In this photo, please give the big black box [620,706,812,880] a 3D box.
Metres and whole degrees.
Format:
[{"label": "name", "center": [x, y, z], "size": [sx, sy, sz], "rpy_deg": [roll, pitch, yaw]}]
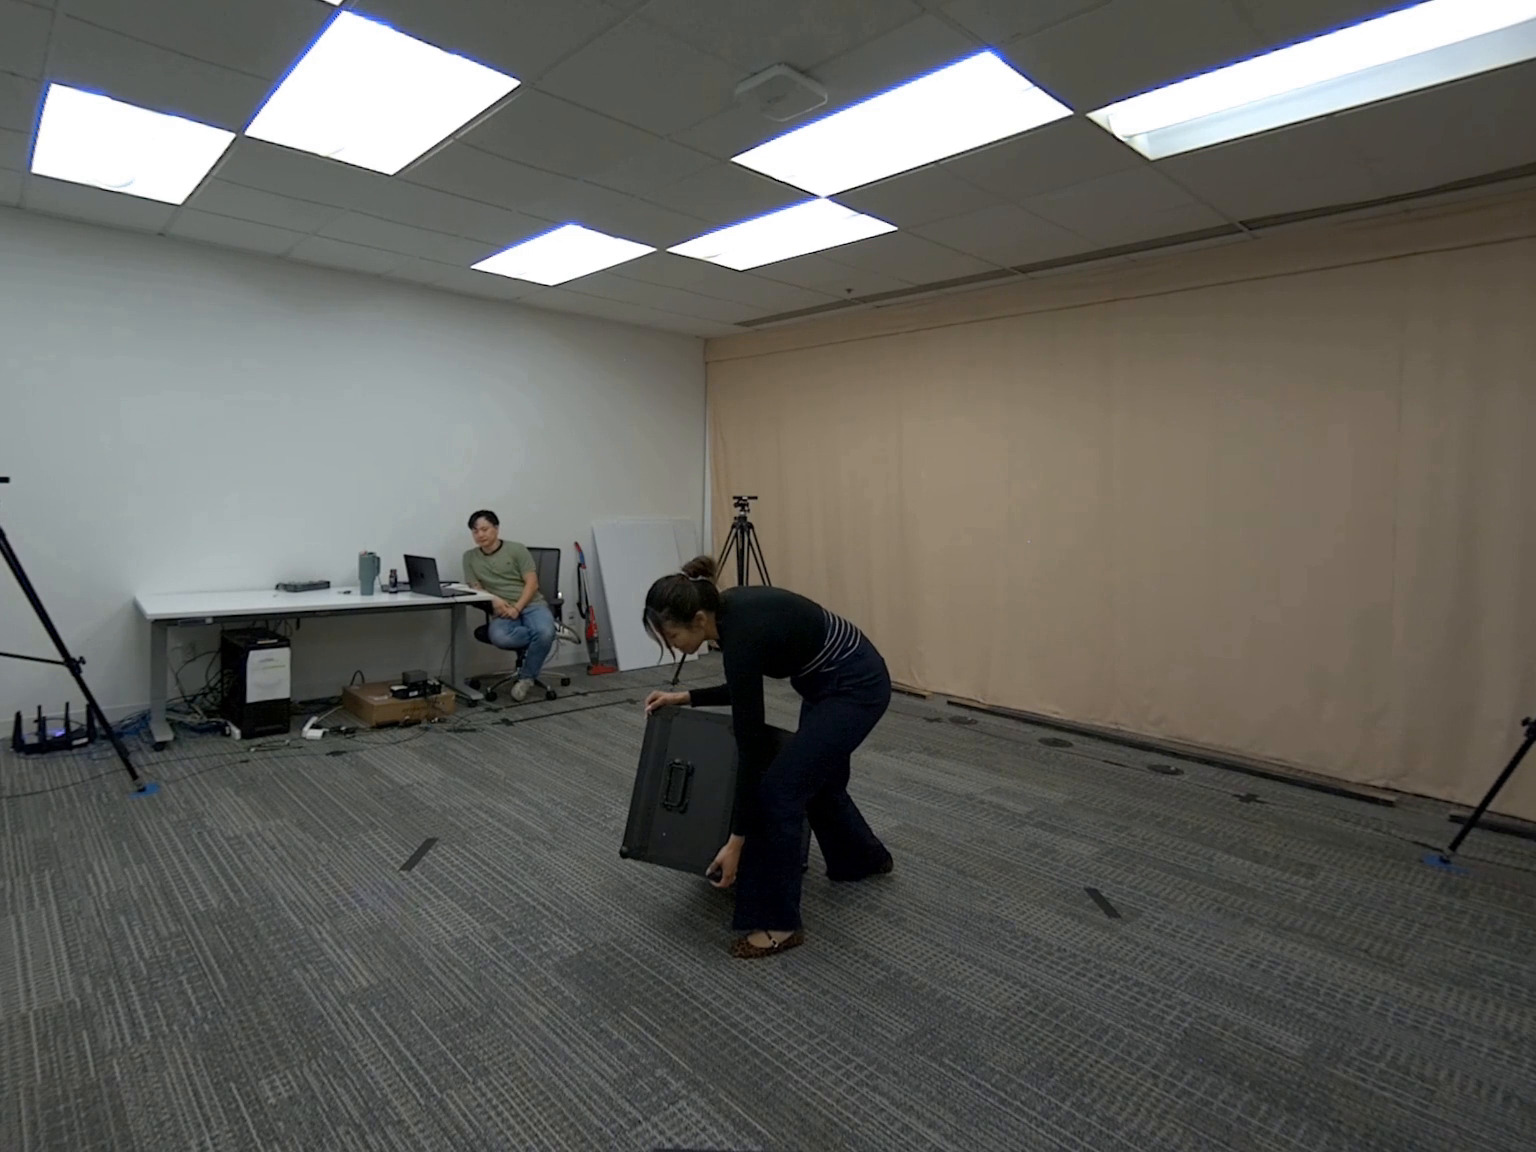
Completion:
[{"label": "big black box", "center": [-0.111, 0.764, 2.972], "size": [0.404, 0.525, 0.838], "rpy_deg": [4, -14, 24]}]
